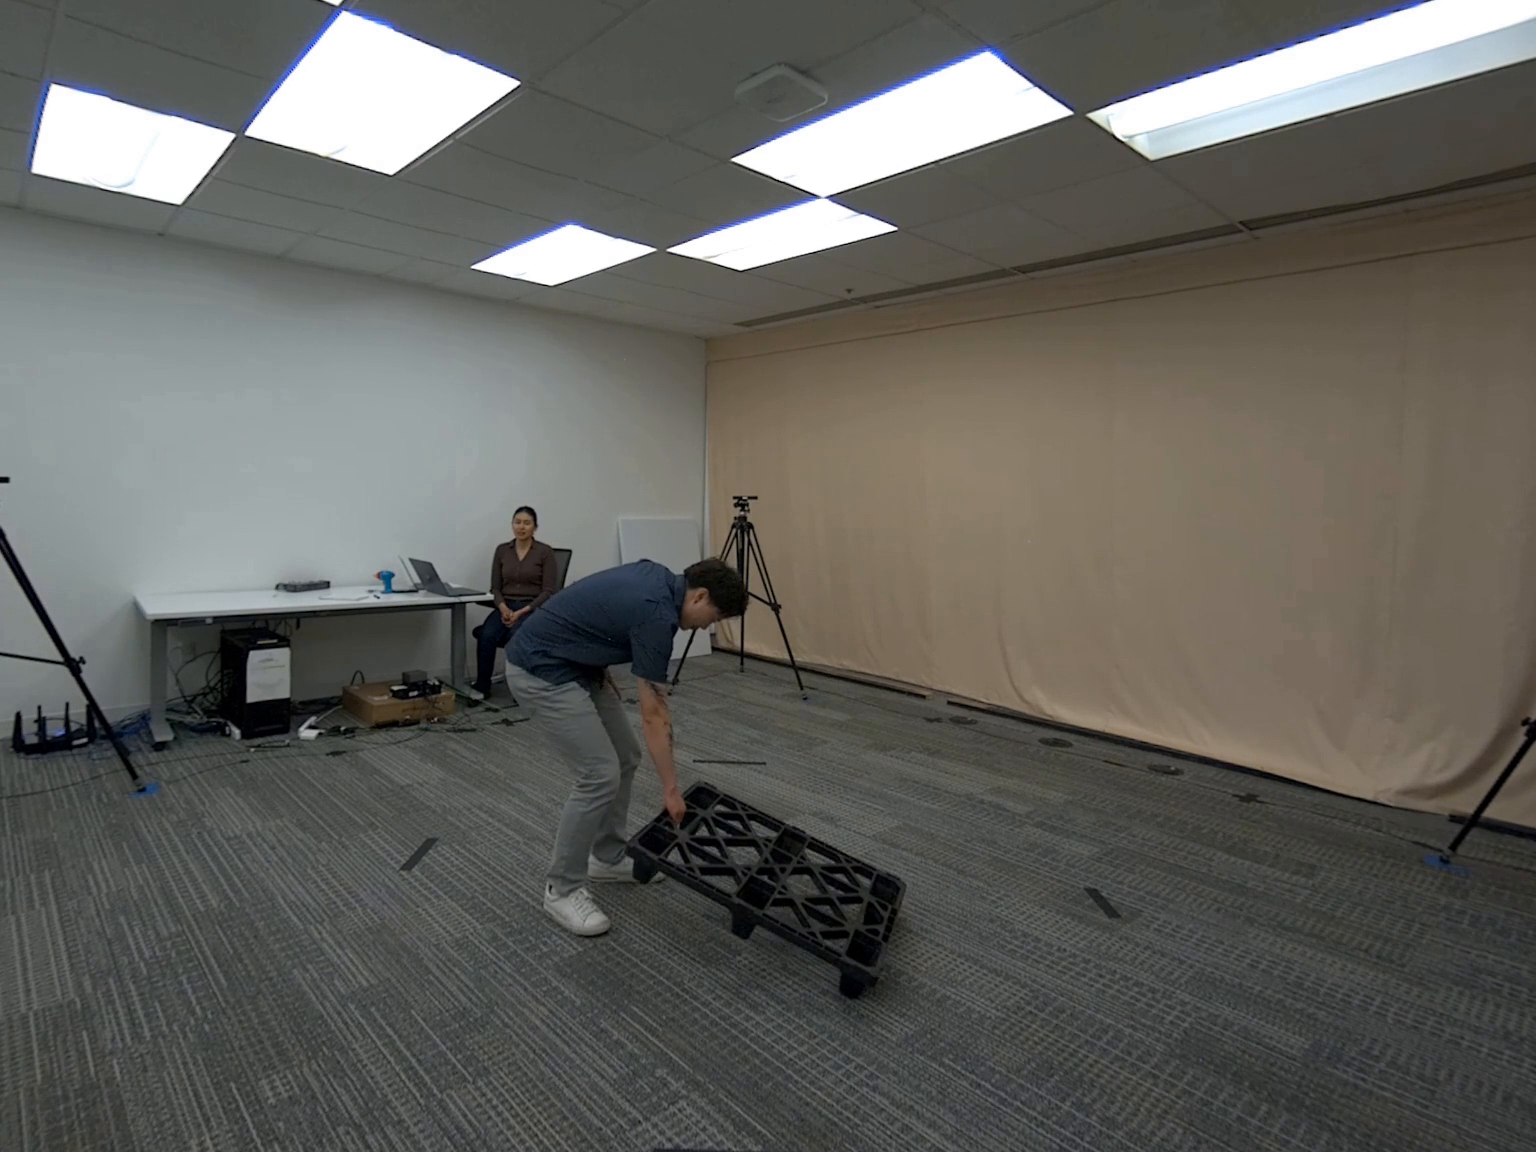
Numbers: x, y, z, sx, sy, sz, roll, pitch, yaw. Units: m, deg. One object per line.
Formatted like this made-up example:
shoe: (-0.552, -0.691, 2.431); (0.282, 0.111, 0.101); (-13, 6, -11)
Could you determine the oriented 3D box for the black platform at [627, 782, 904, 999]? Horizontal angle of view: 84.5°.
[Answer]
black platform: (-0.004, 0.973, 2.659); (0.819, 0.142, 0.598); (21, 11, 16)
